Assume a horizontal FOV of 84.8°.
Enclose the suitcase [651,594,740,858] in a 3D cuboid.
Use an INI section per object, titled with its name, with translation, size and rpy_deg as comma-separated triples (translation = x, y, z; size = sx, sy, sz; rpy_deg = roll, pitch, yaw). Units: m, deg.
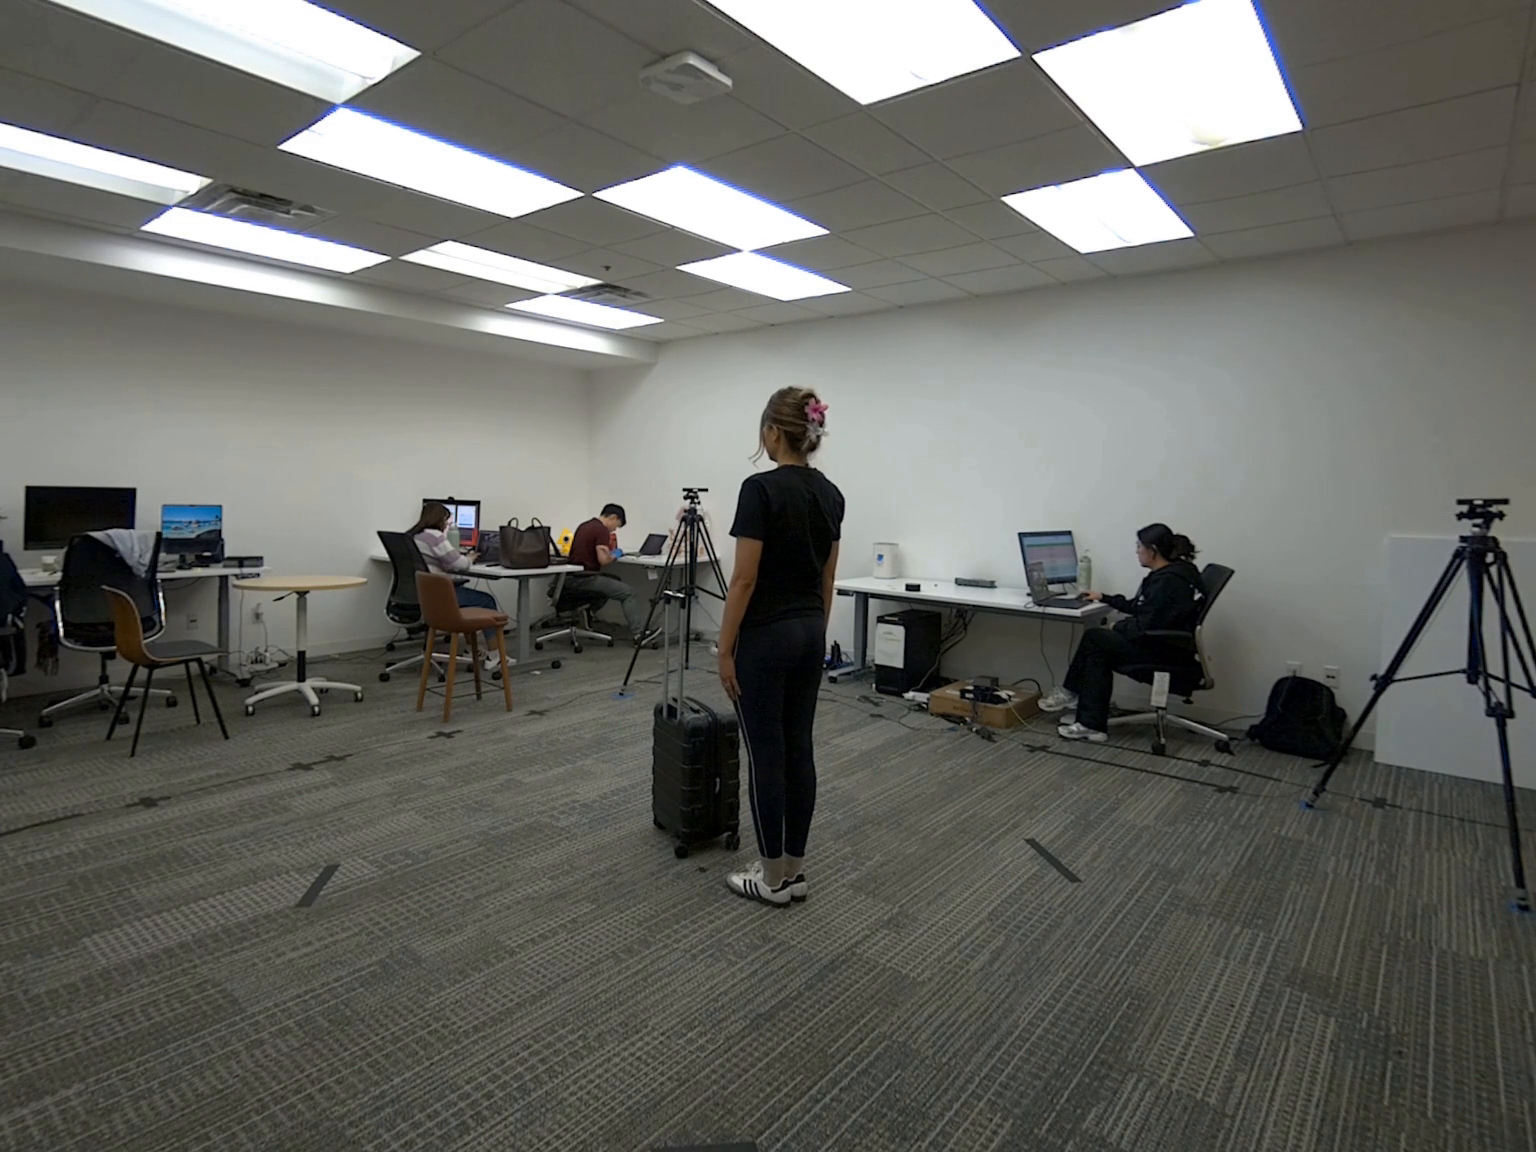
[suitcase]
translation = -0.298, 0.569, 3.375
size = 0.251, 0.976, 0.395
rpy_deg = 1, 4, -26
